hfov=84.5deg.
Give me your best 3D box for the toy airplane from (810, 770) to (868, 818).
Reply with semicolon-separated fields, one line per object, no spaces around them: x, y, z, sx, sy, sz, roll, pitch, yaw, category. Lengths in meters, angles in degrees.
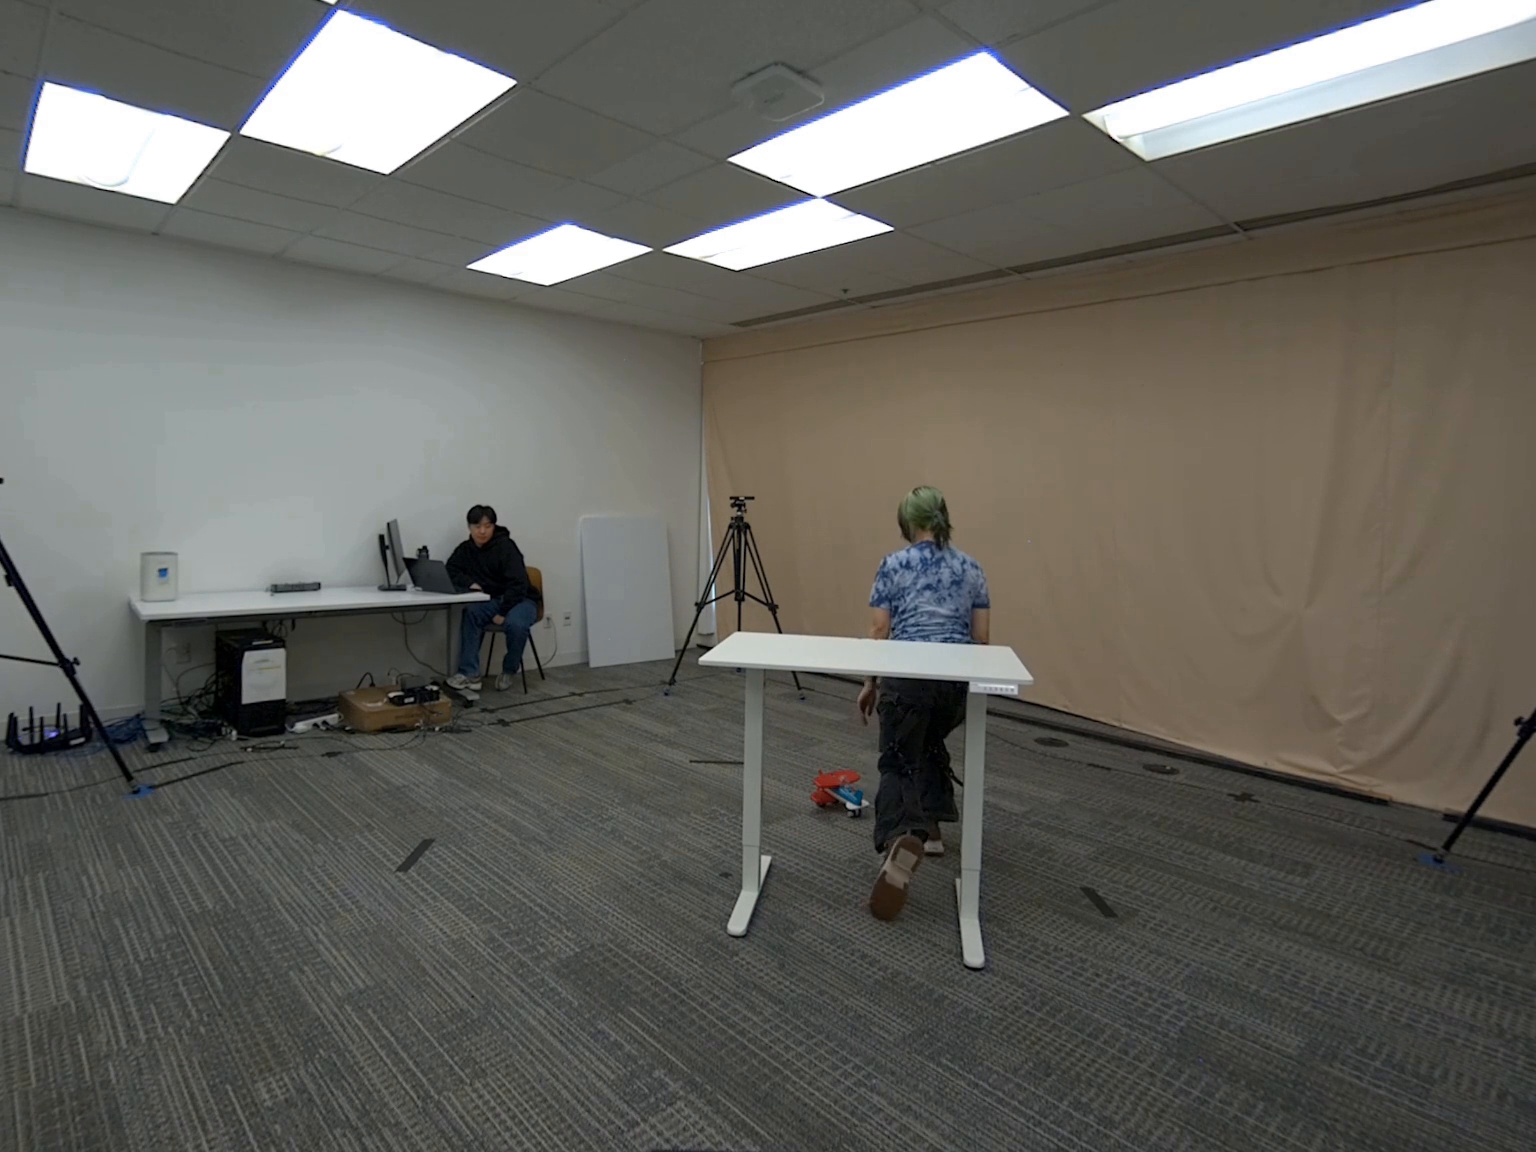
0.331;0.980;3.806;0.264;0.156;0.247;2;4;26;toy airplane
